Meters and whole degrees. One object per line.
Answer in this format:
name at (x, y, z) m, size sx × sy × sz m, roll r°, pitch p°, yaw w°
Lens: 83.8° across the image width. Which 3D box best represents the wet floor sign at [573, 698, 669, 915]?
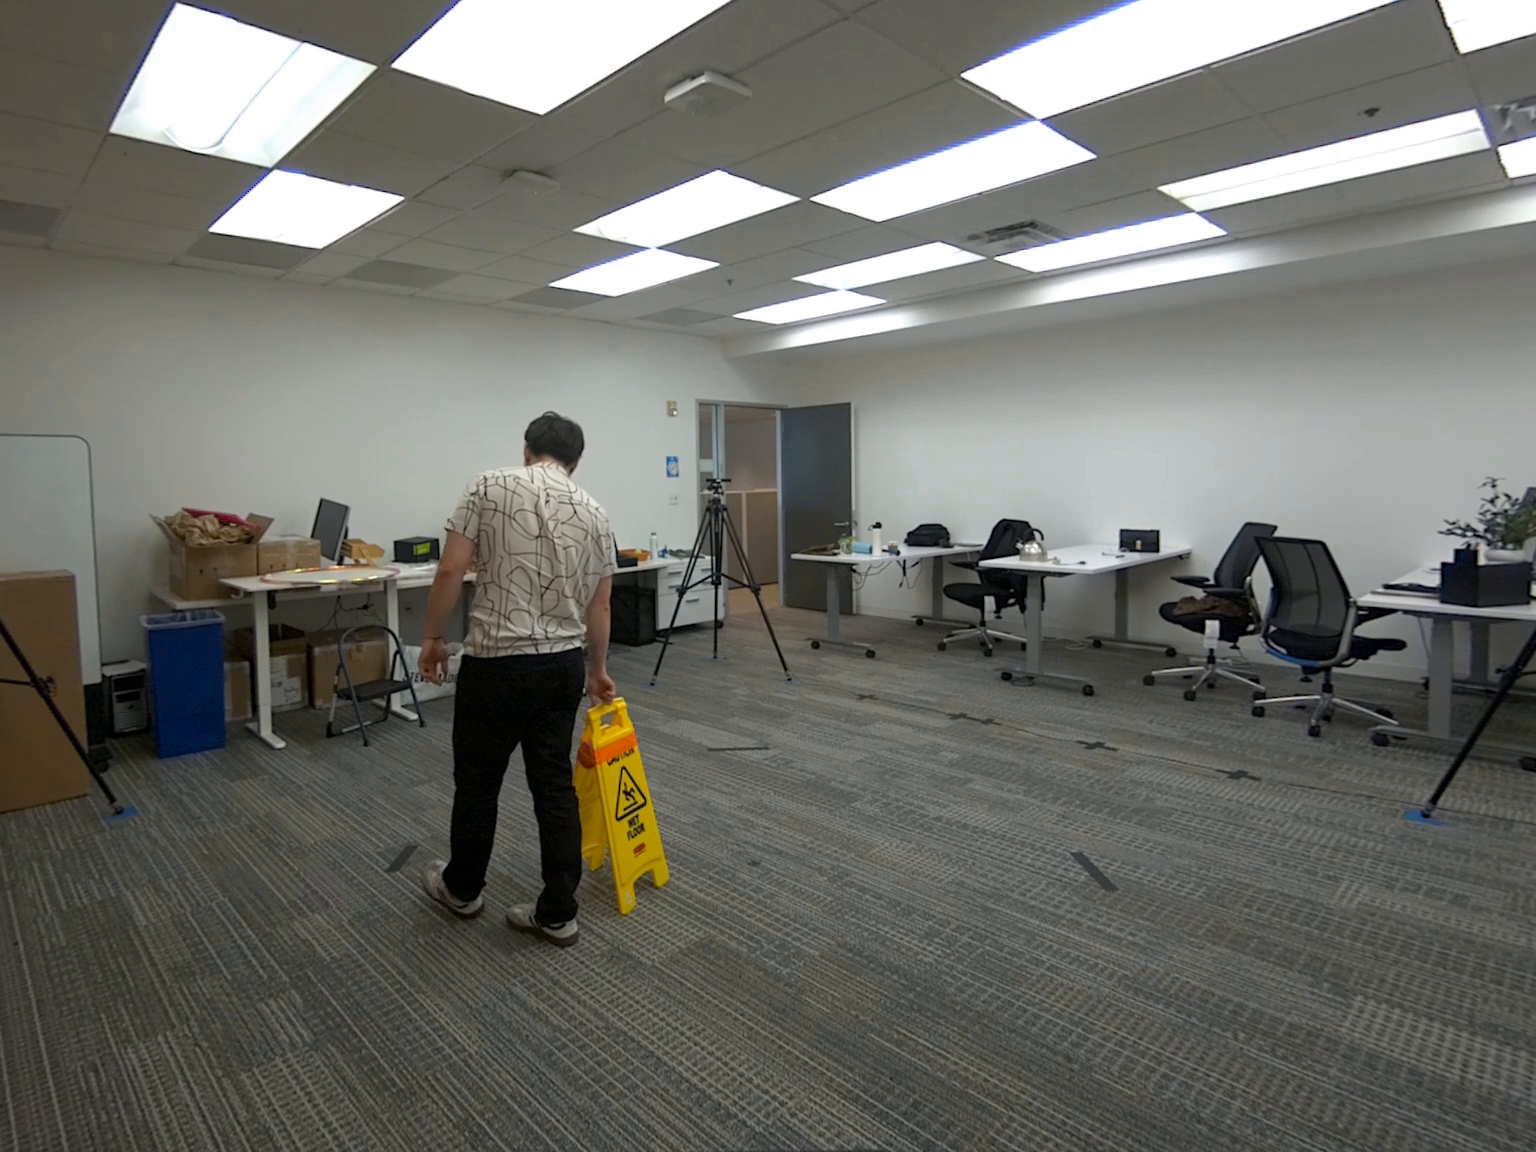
wet floor sign at (-0.538, 0.752, 2.916) m, size 0.297 × 0.643 × 0.276 m, roll 2°, pitch 6°, yaw 28°
